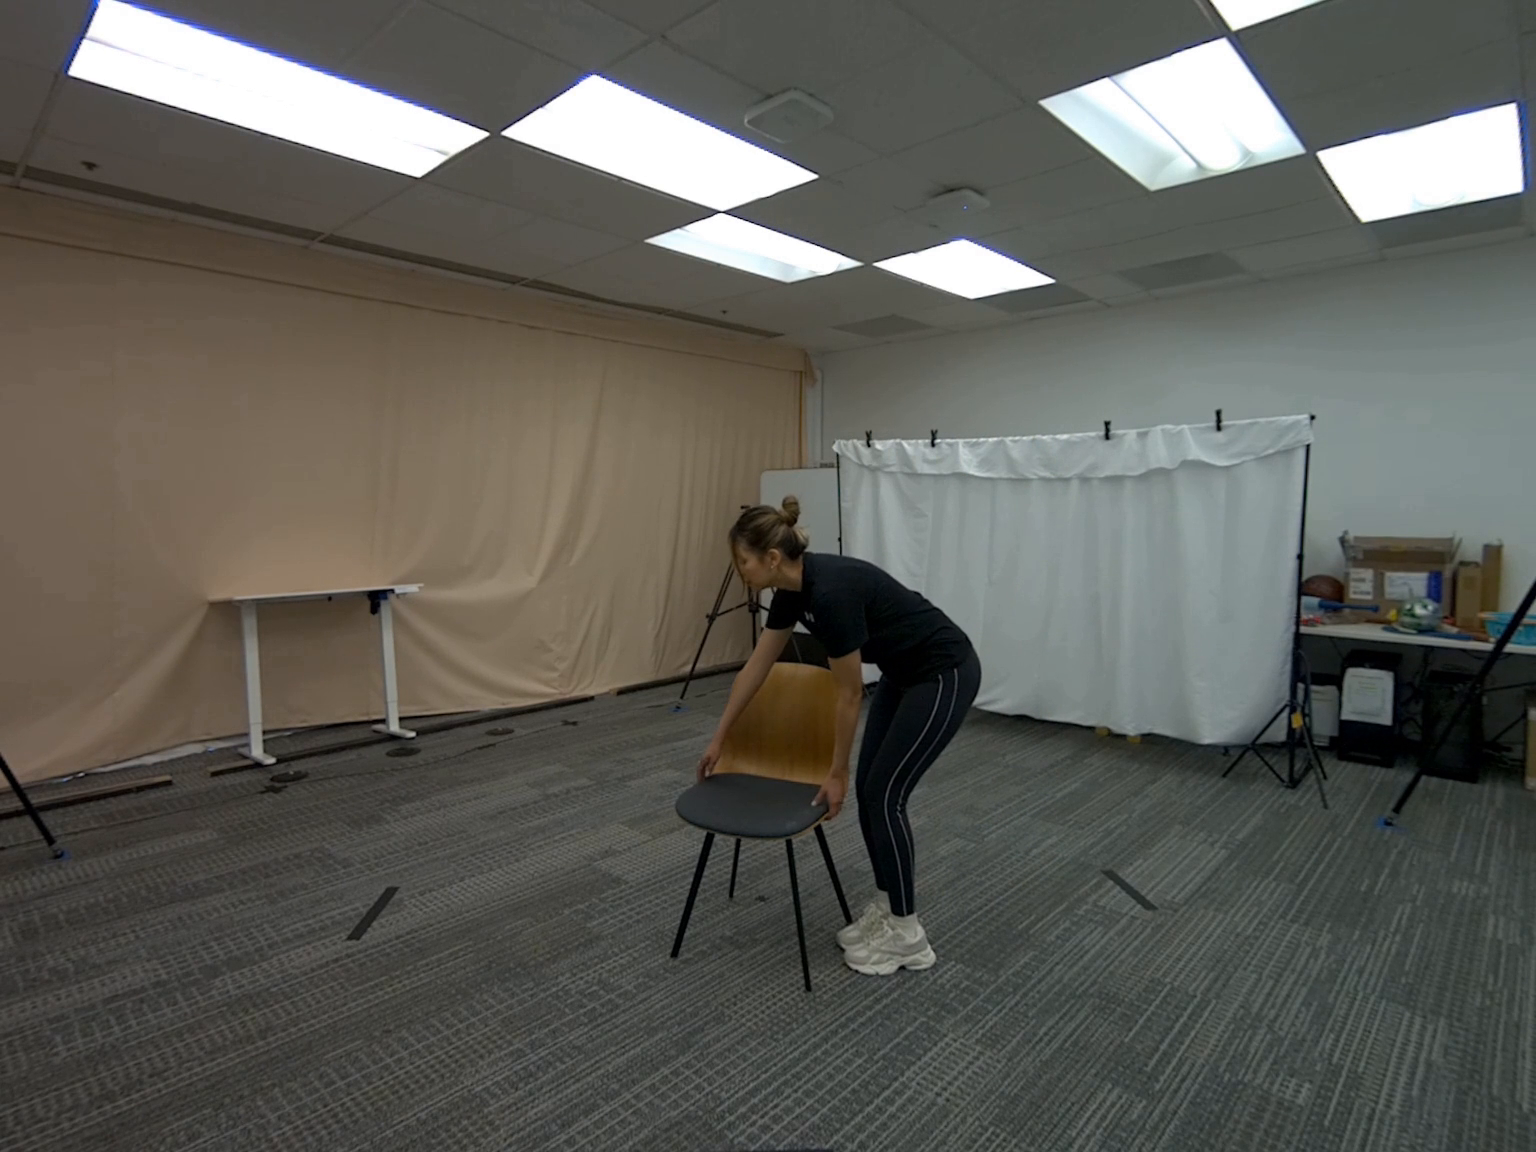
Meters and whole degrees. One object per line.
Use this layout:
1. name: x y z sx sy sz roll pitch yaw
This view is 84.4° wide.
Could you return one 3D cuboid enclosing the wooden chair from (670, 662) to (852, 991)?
1. wooden chair: -0.010 0.741 2.672 0.490 0.877 0.510 2 0 23
